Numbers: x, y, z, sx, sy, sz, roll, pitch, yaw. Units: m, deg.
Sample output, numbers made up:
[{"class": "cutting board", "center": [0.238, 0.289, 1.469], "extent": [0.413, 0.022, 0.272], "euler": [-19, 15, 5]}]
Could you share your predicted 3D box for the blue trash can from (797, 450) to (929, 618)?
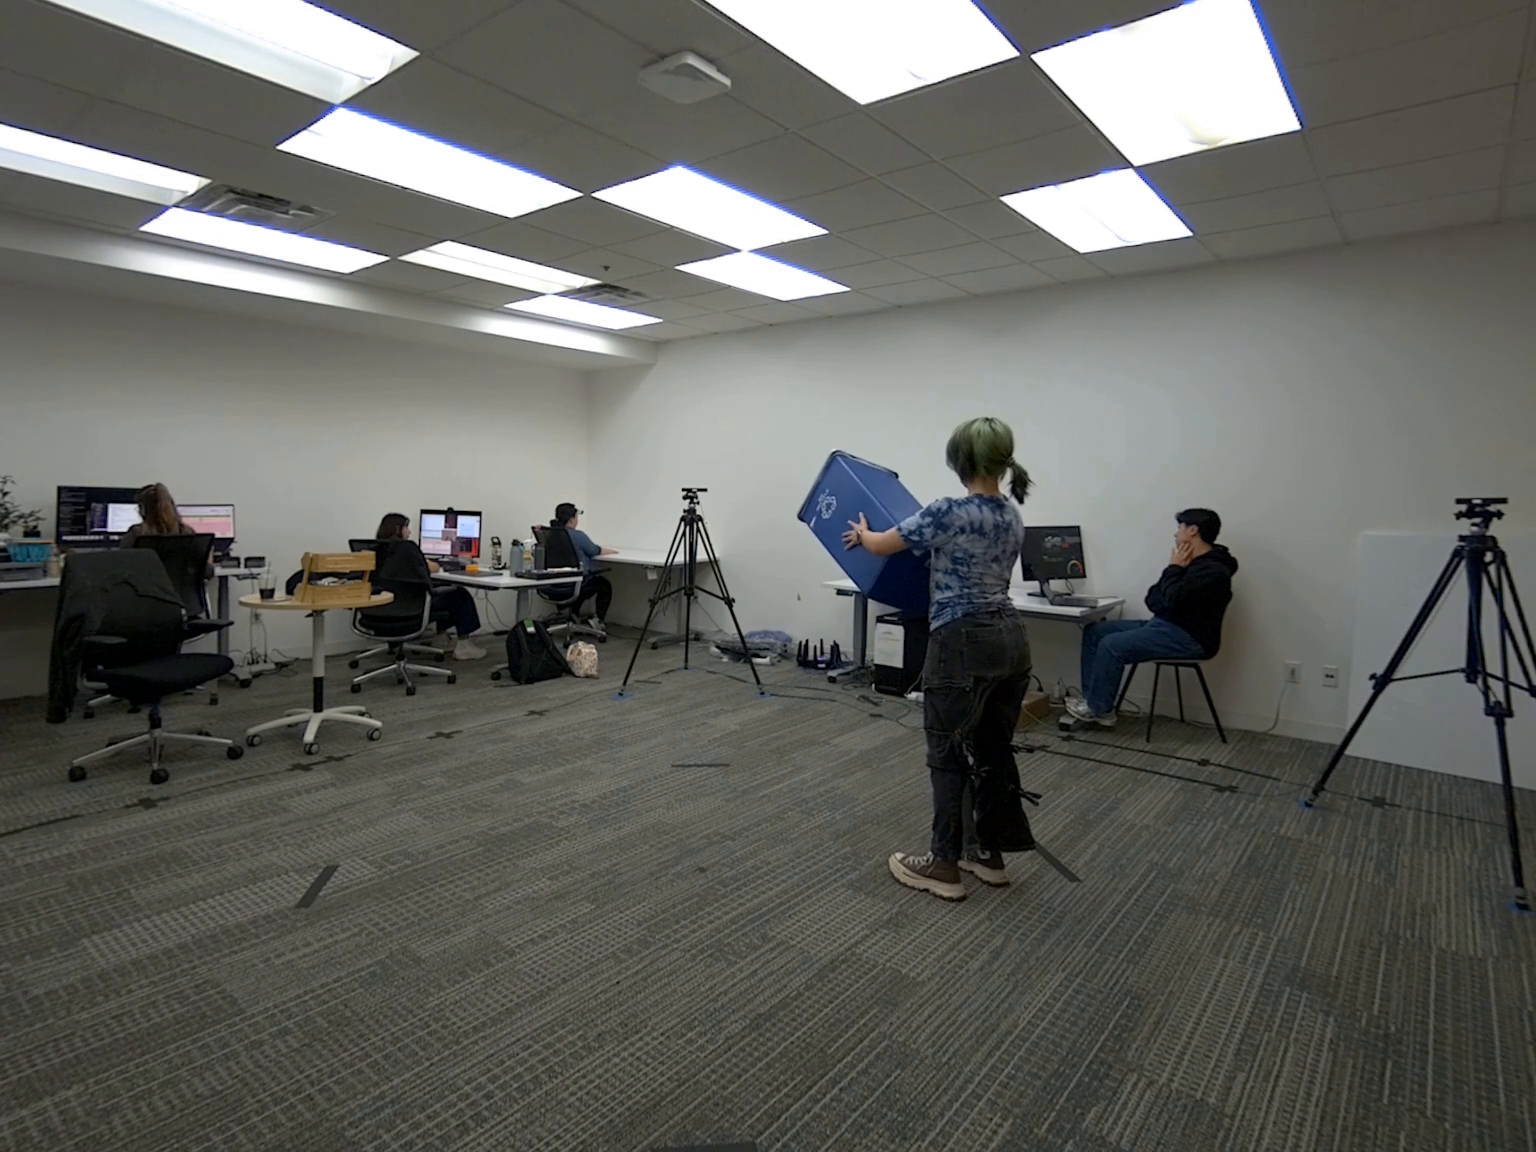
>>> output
[{"class": "blue trash can", "center": [0.457, -0.186, 3.529], "extent": [0.366, 0.372, 0.740], "euler": [19, 22, -27]}]
